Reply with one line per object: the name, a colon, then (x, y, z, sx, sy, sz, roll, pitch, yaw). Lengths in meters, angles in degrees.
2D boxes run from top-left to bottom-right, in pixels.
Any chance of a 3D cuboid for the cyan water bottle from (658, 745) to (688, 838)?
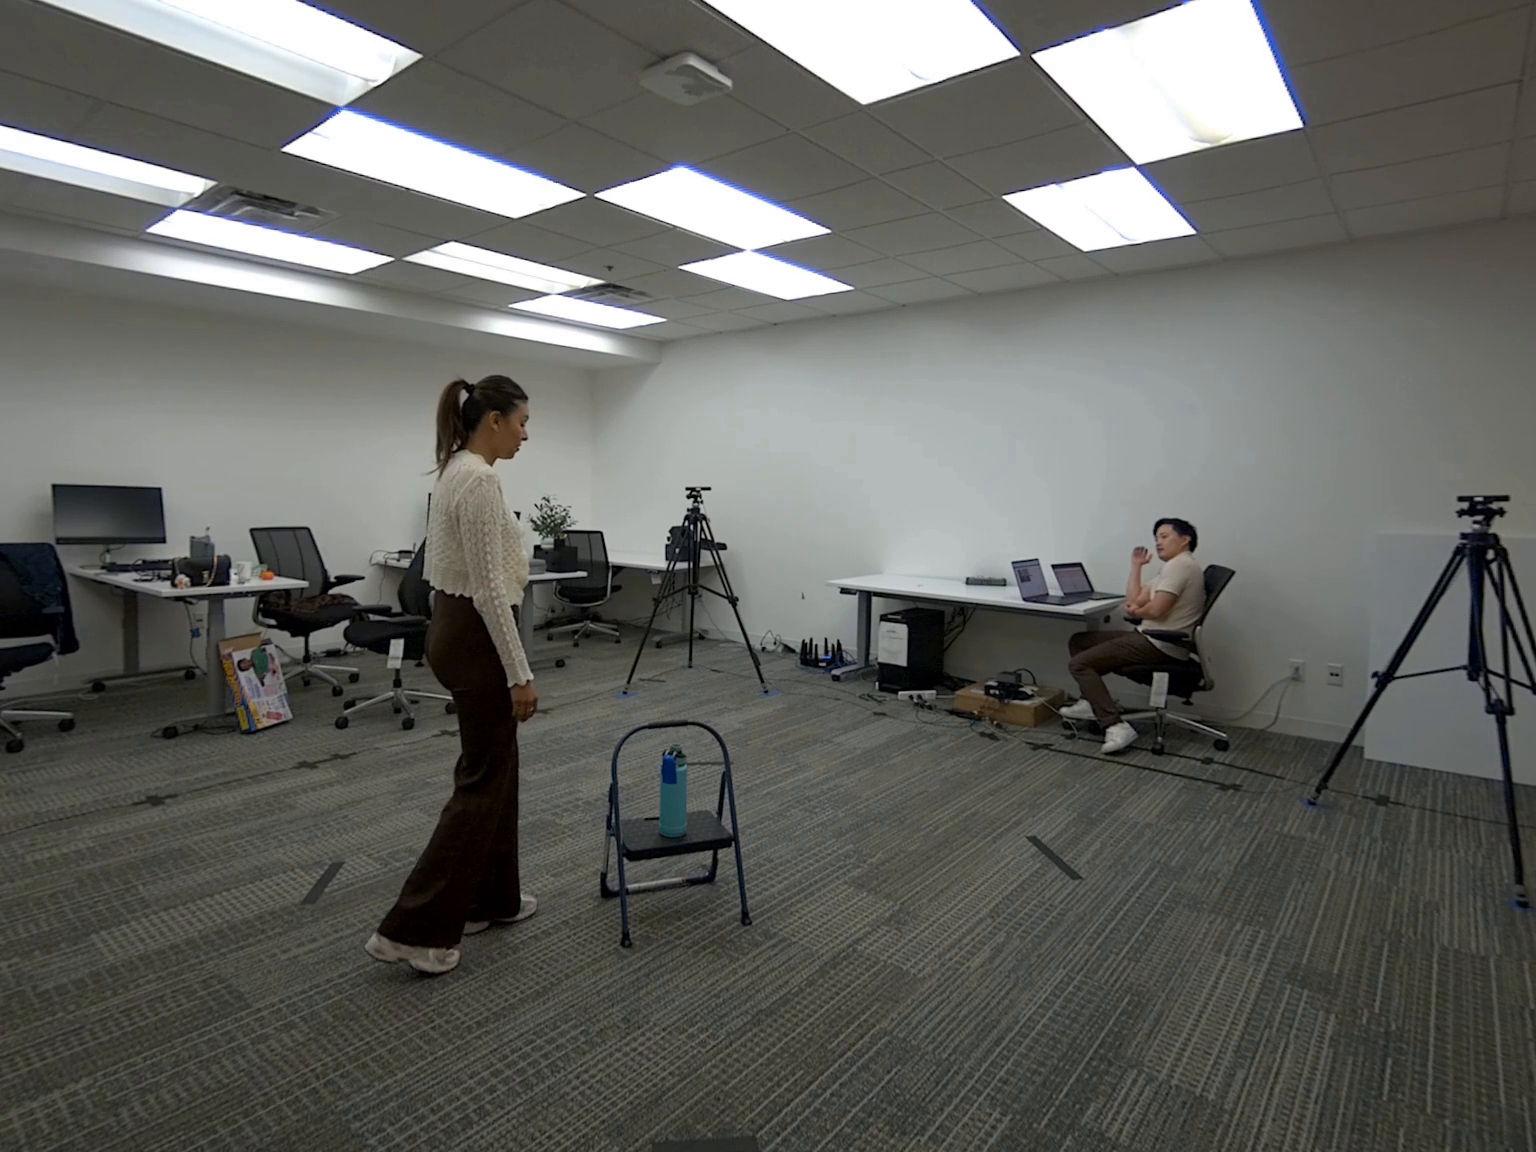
cyan water bottle: (-0.321, 0.700, 2.765, 0.092, 0.282, 0.093, -1, 5, -2)
